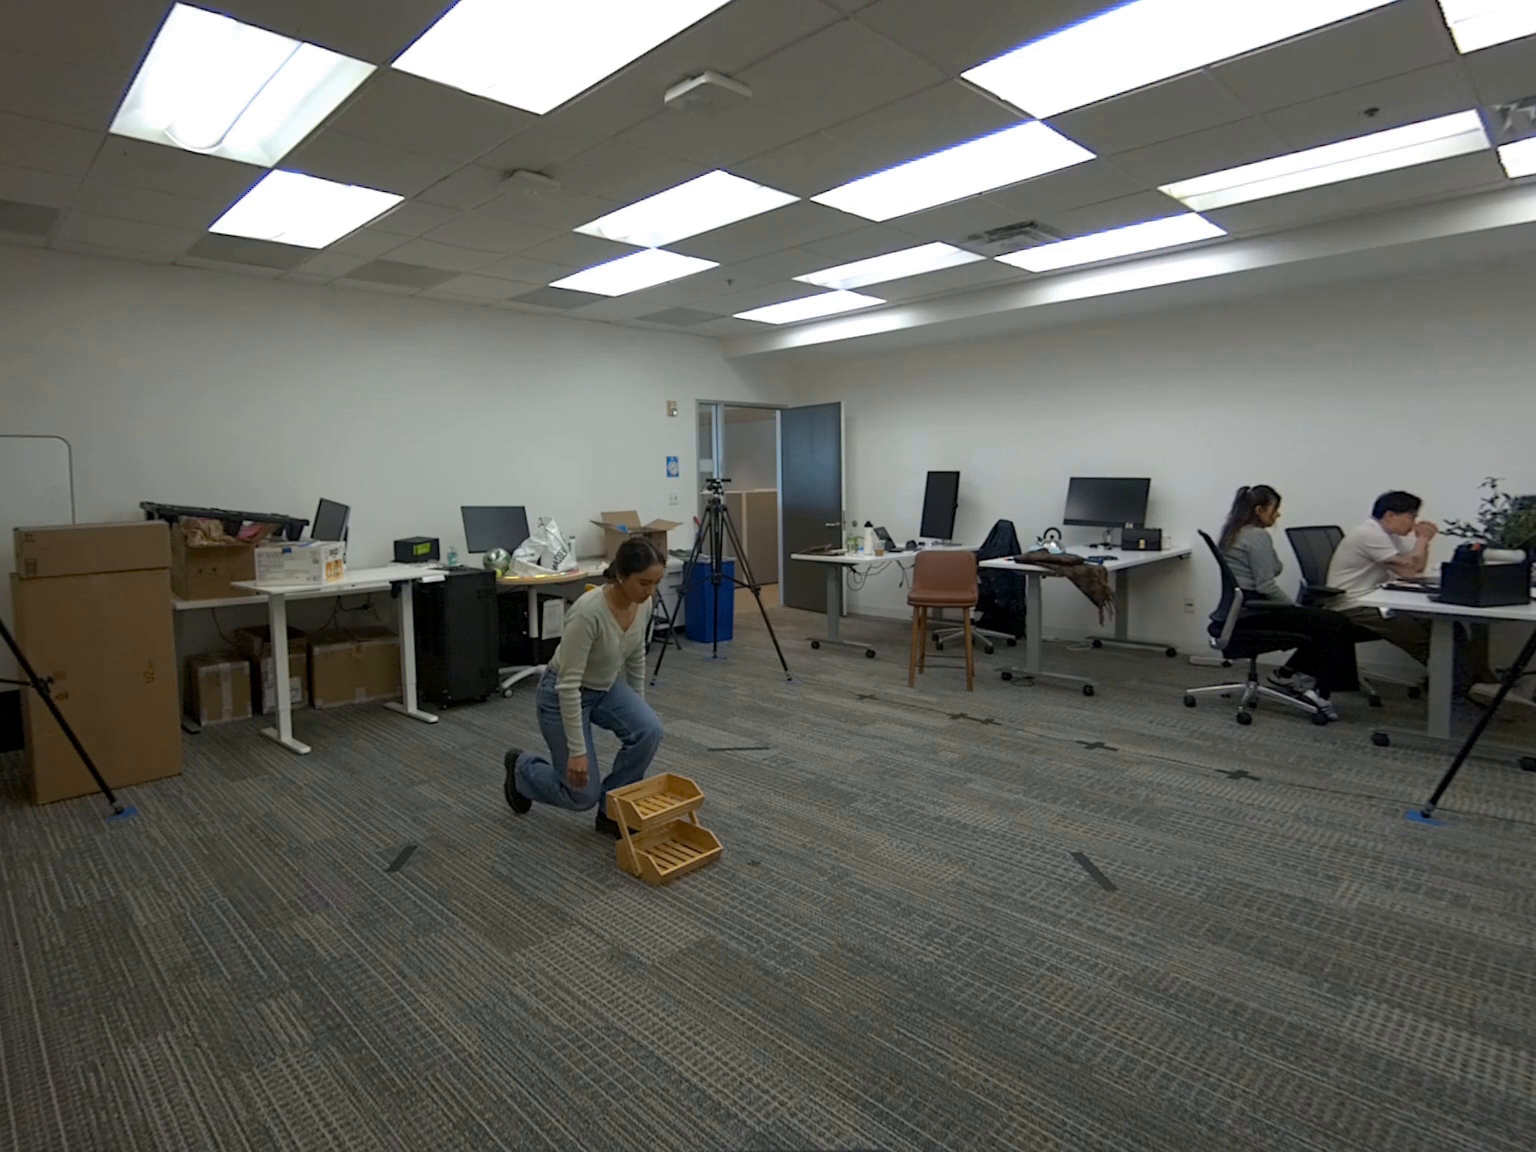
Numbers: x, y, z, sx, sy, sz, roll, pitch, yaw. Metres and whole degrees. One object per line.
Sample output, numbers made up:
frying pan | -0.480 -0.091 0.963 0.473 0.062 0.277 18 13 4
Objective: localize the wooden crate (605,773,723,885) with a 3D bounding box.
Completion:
wooden crate | -0.373 0.909 3.125 0.311 0.272 0.316 4 6 43
